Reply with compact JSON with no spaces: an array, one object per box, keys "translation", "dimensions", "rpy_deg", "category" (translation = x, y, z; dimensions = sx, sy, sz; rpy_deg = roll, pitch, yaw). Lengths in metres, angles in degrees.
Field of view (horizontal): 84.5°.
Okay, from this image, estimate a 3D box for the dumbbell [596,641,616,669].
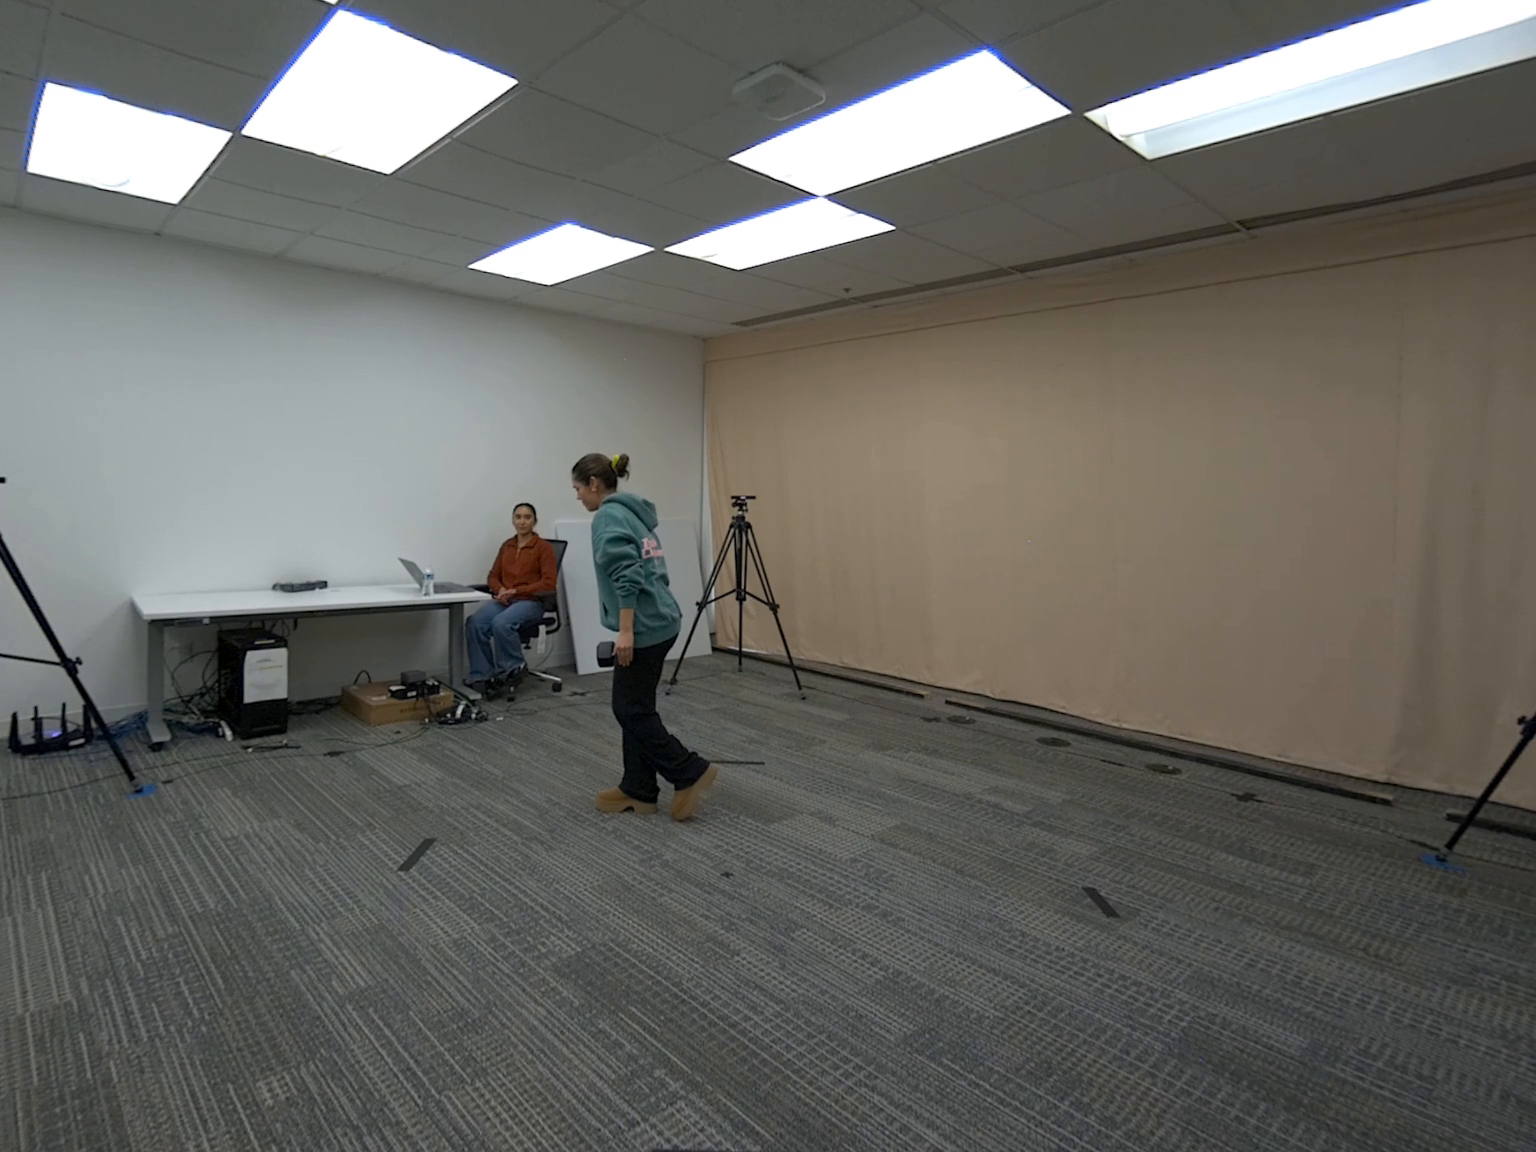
[{"translation":[-0.649,0.356,3.875],"dimensions":[0.293,0.125,0.107],"rpy_deg":[-1,-22,-1],"category":"dumbbell"}]
